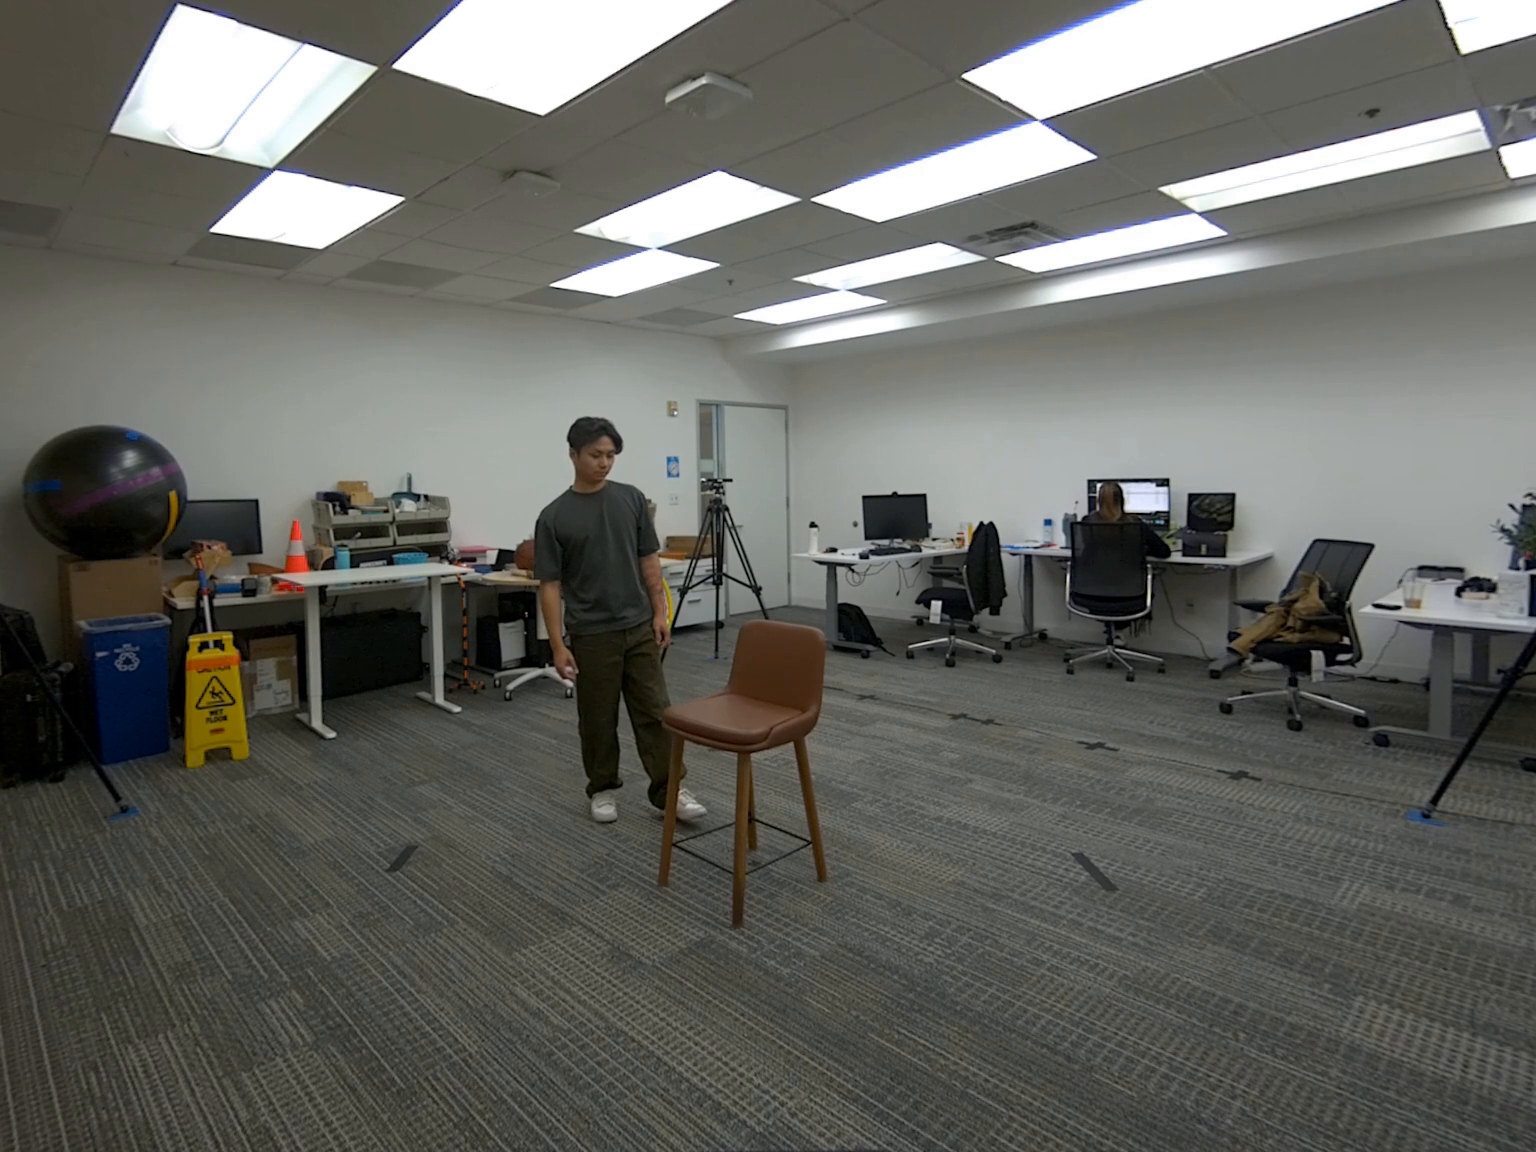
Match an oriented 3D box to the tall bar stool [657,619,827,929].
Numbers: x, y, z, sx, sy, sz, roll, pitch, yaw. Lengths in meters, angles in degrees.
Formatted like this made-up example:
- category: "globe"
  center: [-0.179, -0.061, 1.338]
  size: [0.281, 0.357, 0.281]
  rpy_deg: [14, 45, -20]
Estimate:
- category: "tall bar stool"
  center: [-0.081, 0.630, 2.930]
  size: [0.455, 0.887, 0.471]
  rpy_deg: [-2, 5, -44]
